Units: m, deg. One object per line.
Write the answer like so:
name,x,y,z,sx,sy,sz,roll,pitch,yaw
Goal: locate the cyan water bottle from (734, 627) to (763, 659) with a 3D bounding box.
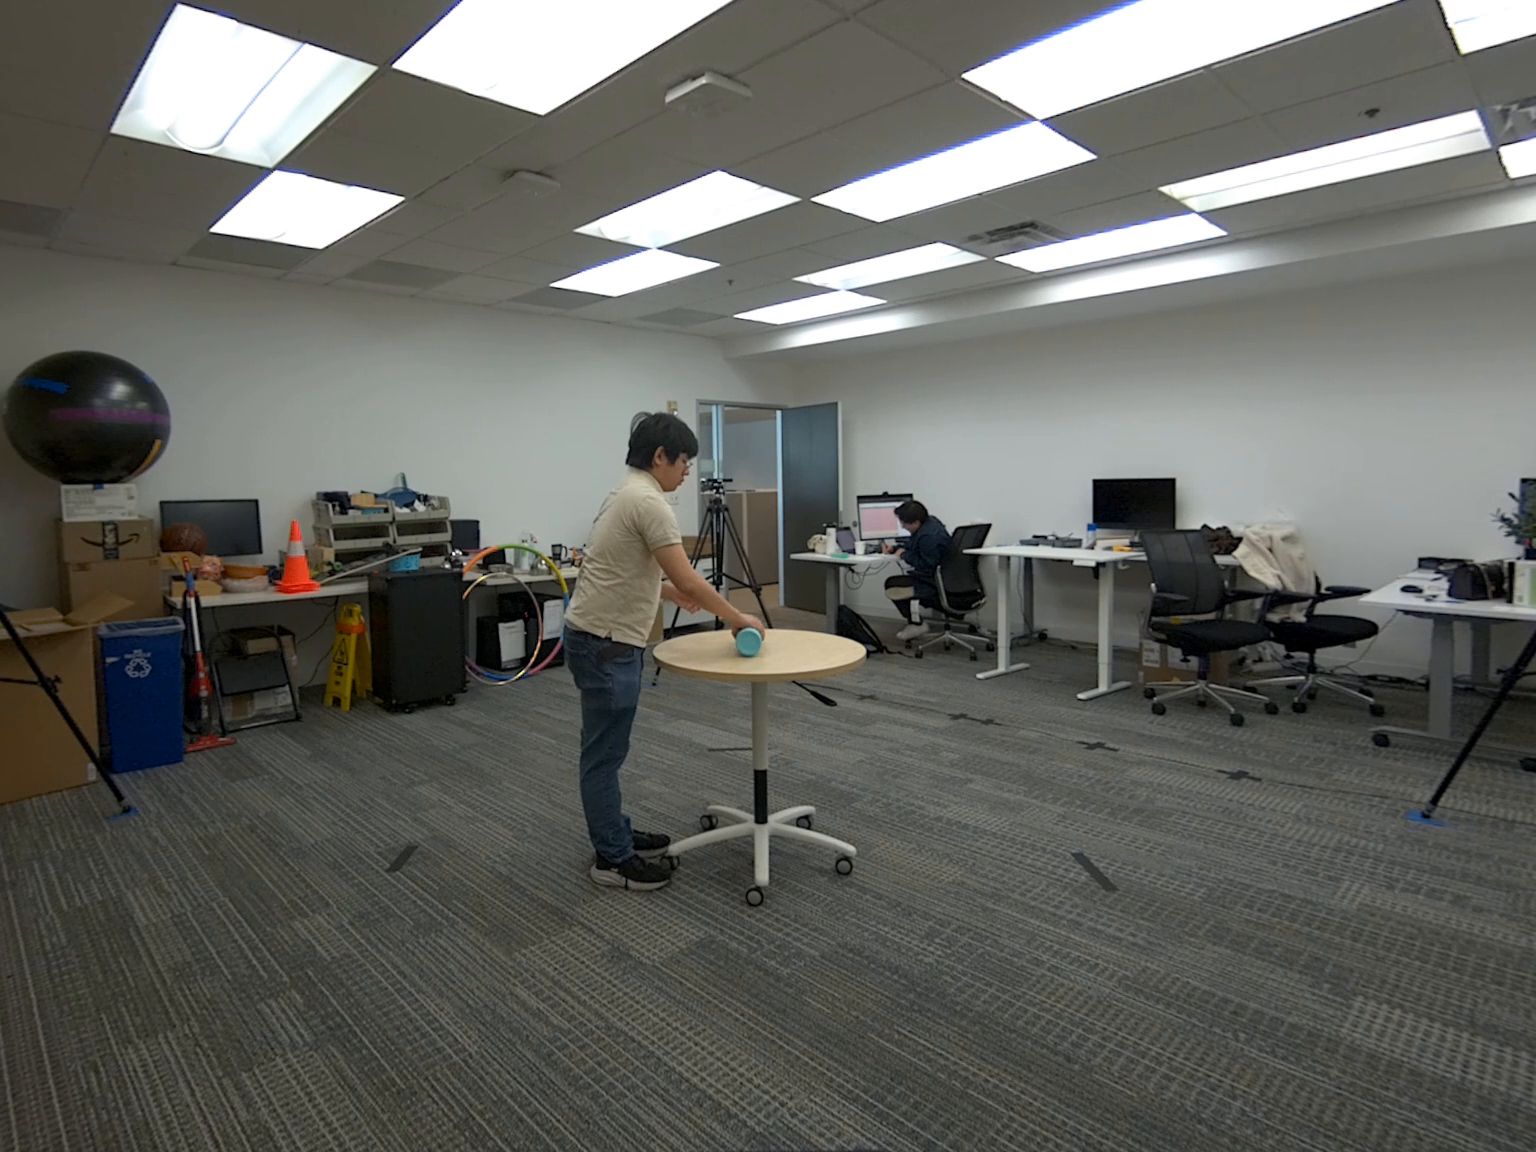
cyan water bottle,-0.062,0.195,3.065,0.092,0.092,0.285,-1,7,-1
